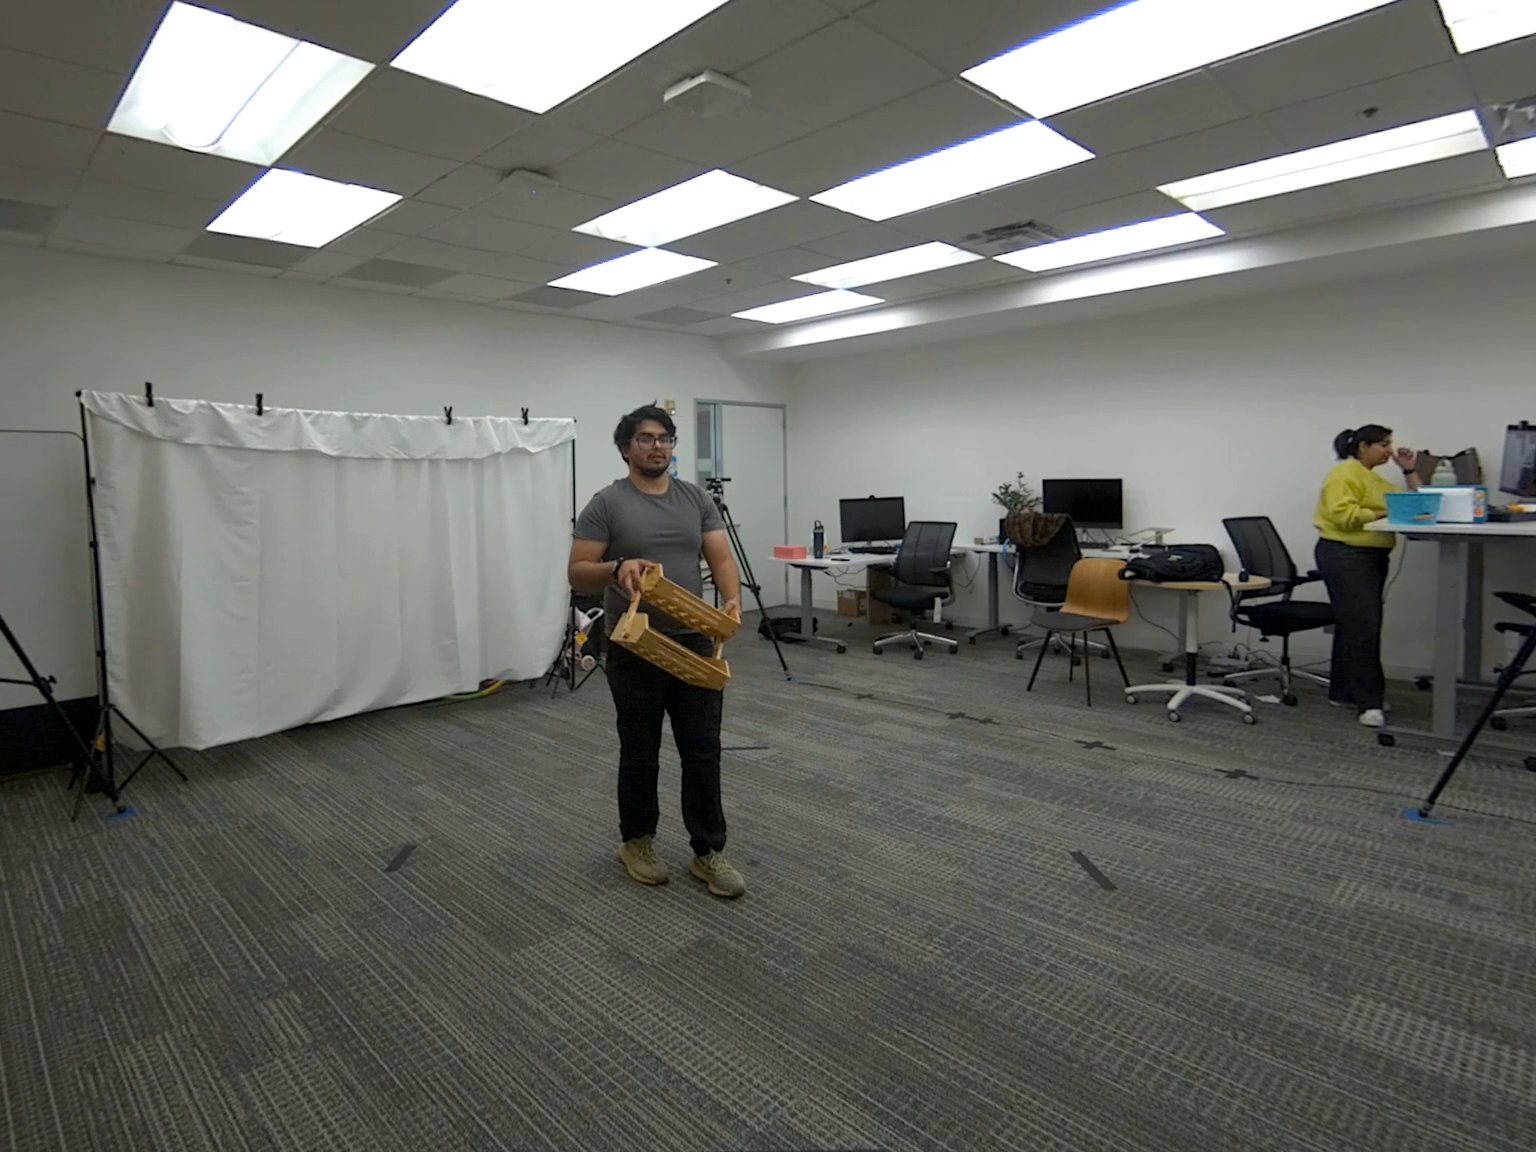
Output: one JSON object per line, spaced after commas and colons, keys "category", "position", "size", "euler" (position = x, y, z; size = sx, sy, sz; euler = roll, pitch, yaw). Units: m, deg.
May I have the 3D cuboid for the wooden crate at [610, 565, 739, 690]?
{"category": "wooden crate", "position": [-0.262, 0.146, 2.598], "size": [0.317, 0.275, 0.307], "euler": [32, -17, -20]}
